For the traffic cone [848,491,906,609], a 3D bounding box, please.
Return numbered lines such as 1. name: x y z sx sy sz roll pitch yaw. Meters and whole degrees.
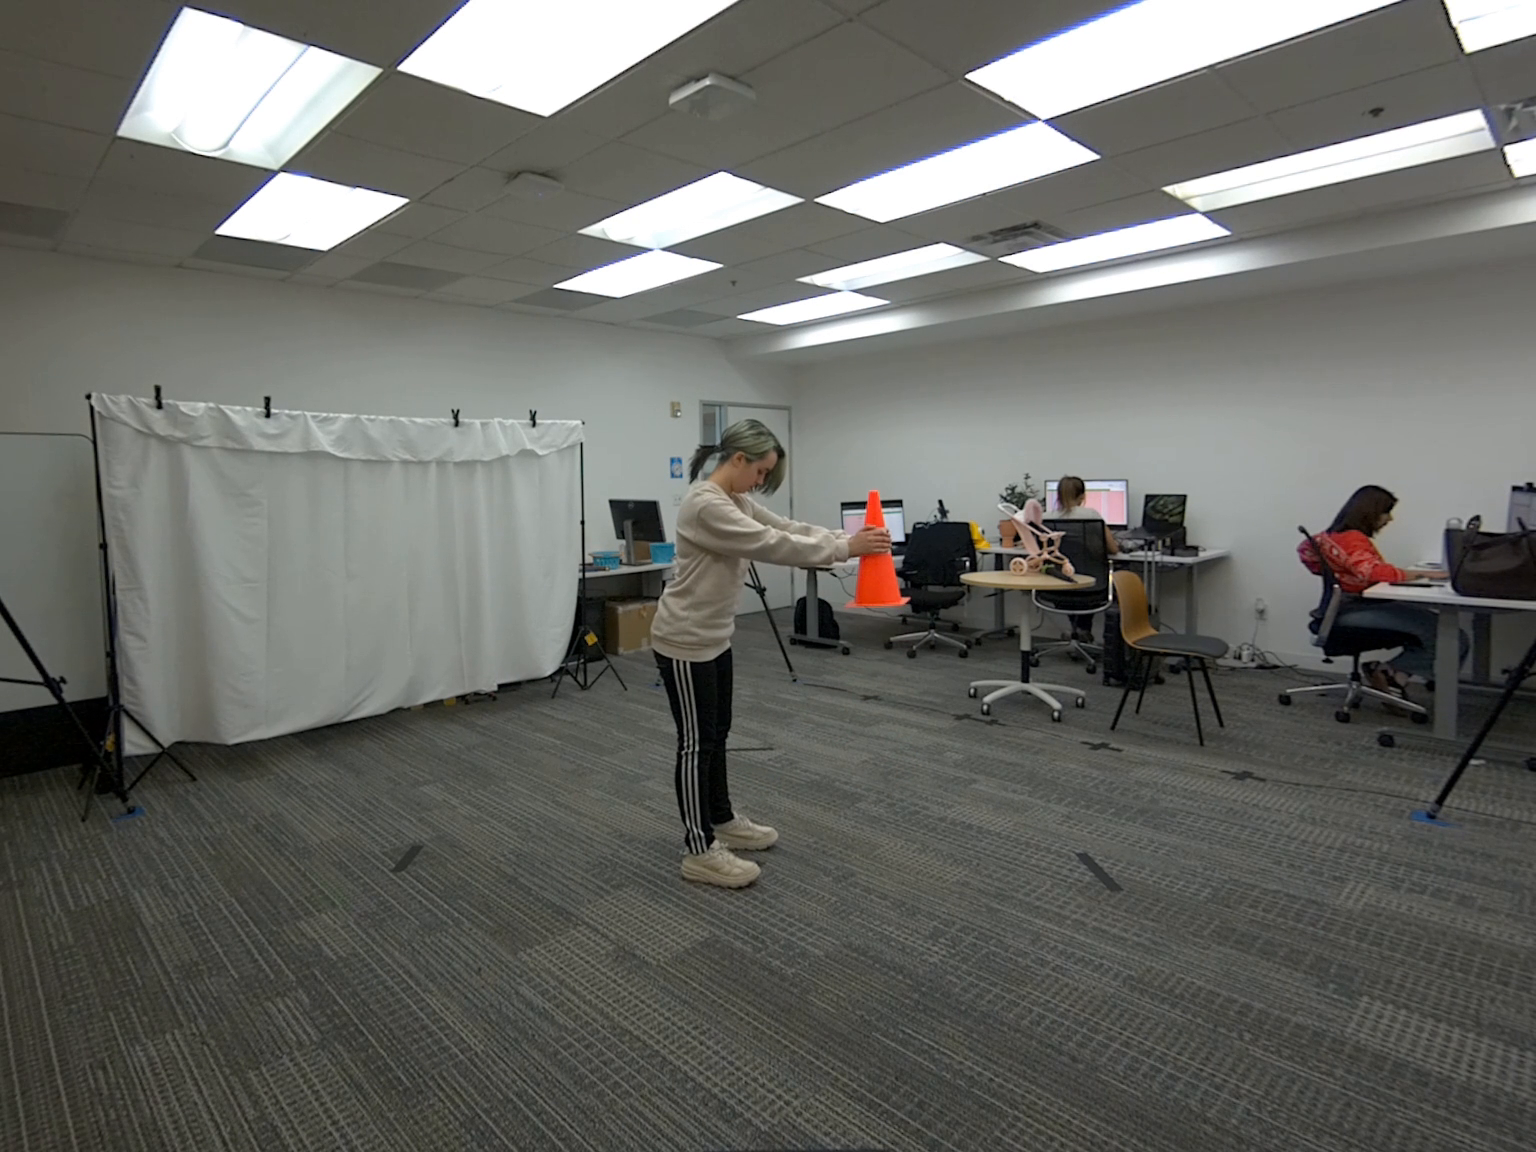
1. traffic cone: 0.358 -0.094 2.904 0.208 0.382 0.200 -1 4 31
